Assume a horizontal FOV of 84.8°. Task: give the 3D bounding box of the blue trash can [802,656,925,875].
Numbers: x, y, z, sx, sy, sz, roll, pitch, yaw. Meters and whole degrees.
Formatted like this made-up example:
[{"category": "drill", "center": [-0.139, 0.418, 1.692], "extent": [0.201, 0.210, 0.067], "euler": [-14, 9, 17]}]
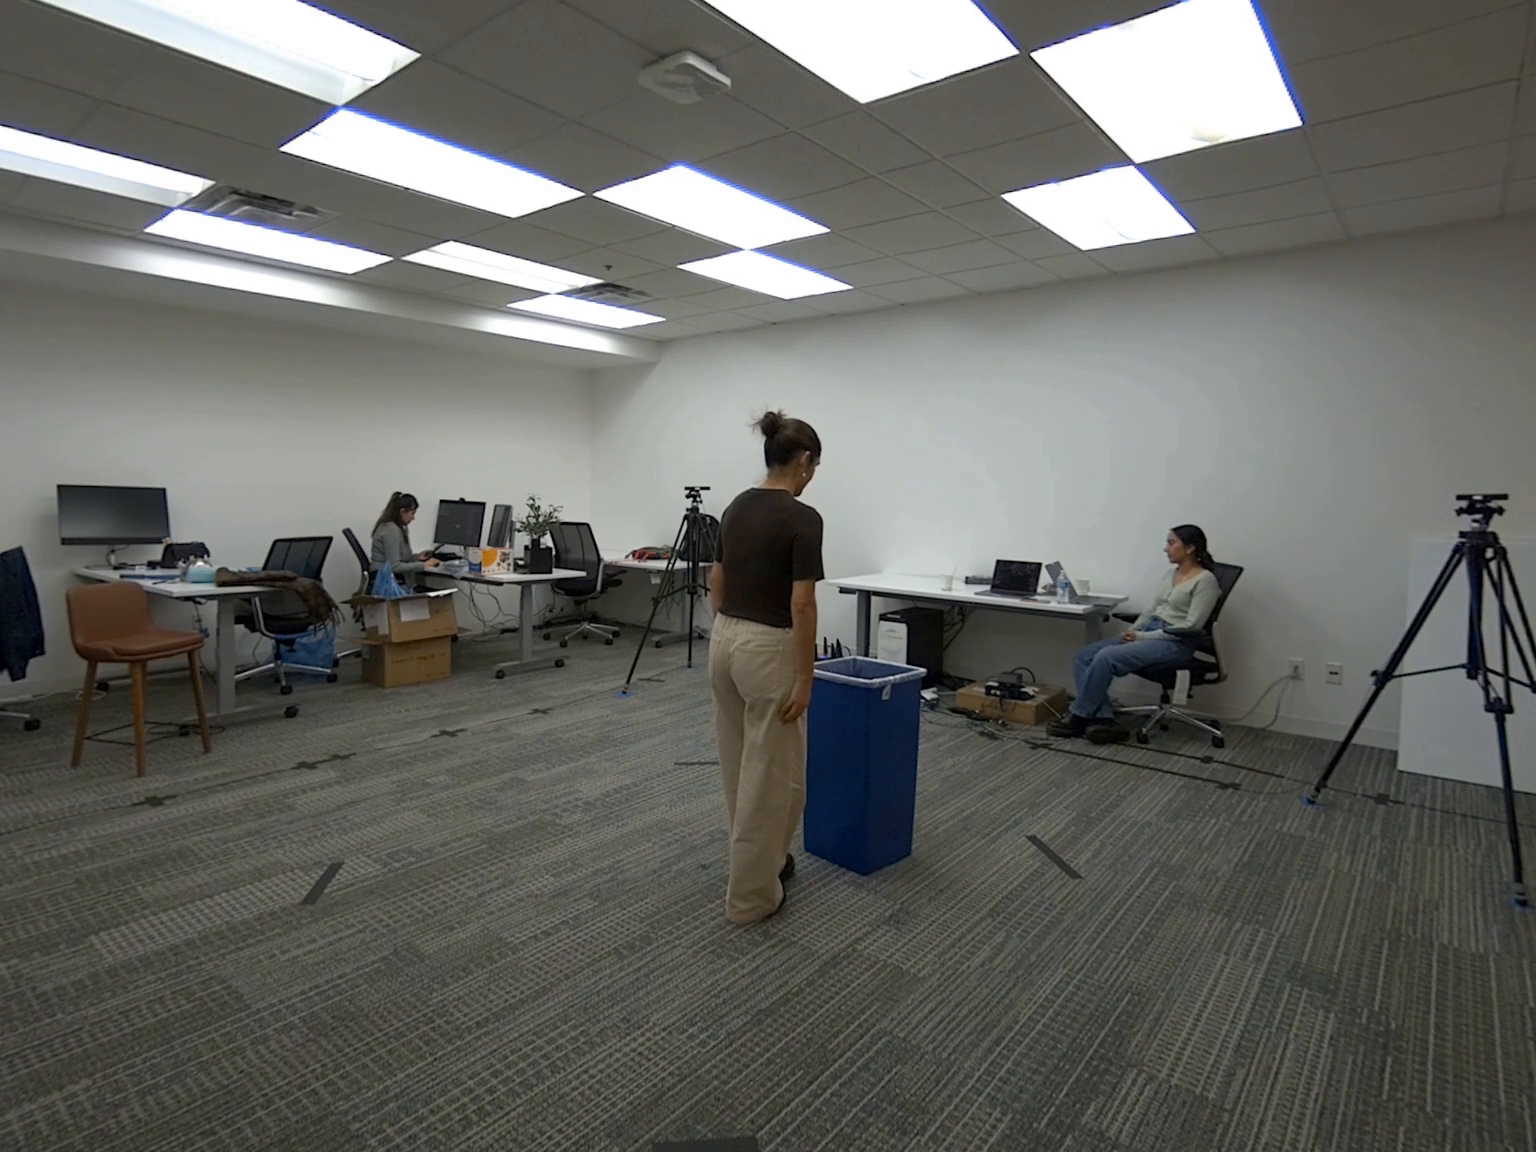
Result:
[{"category": "blue trash can", "center": [0.346, 0.702, 3.265], "extent": [0.391, 0.712, 0.362], "euler": [4, 4, 44]}]
